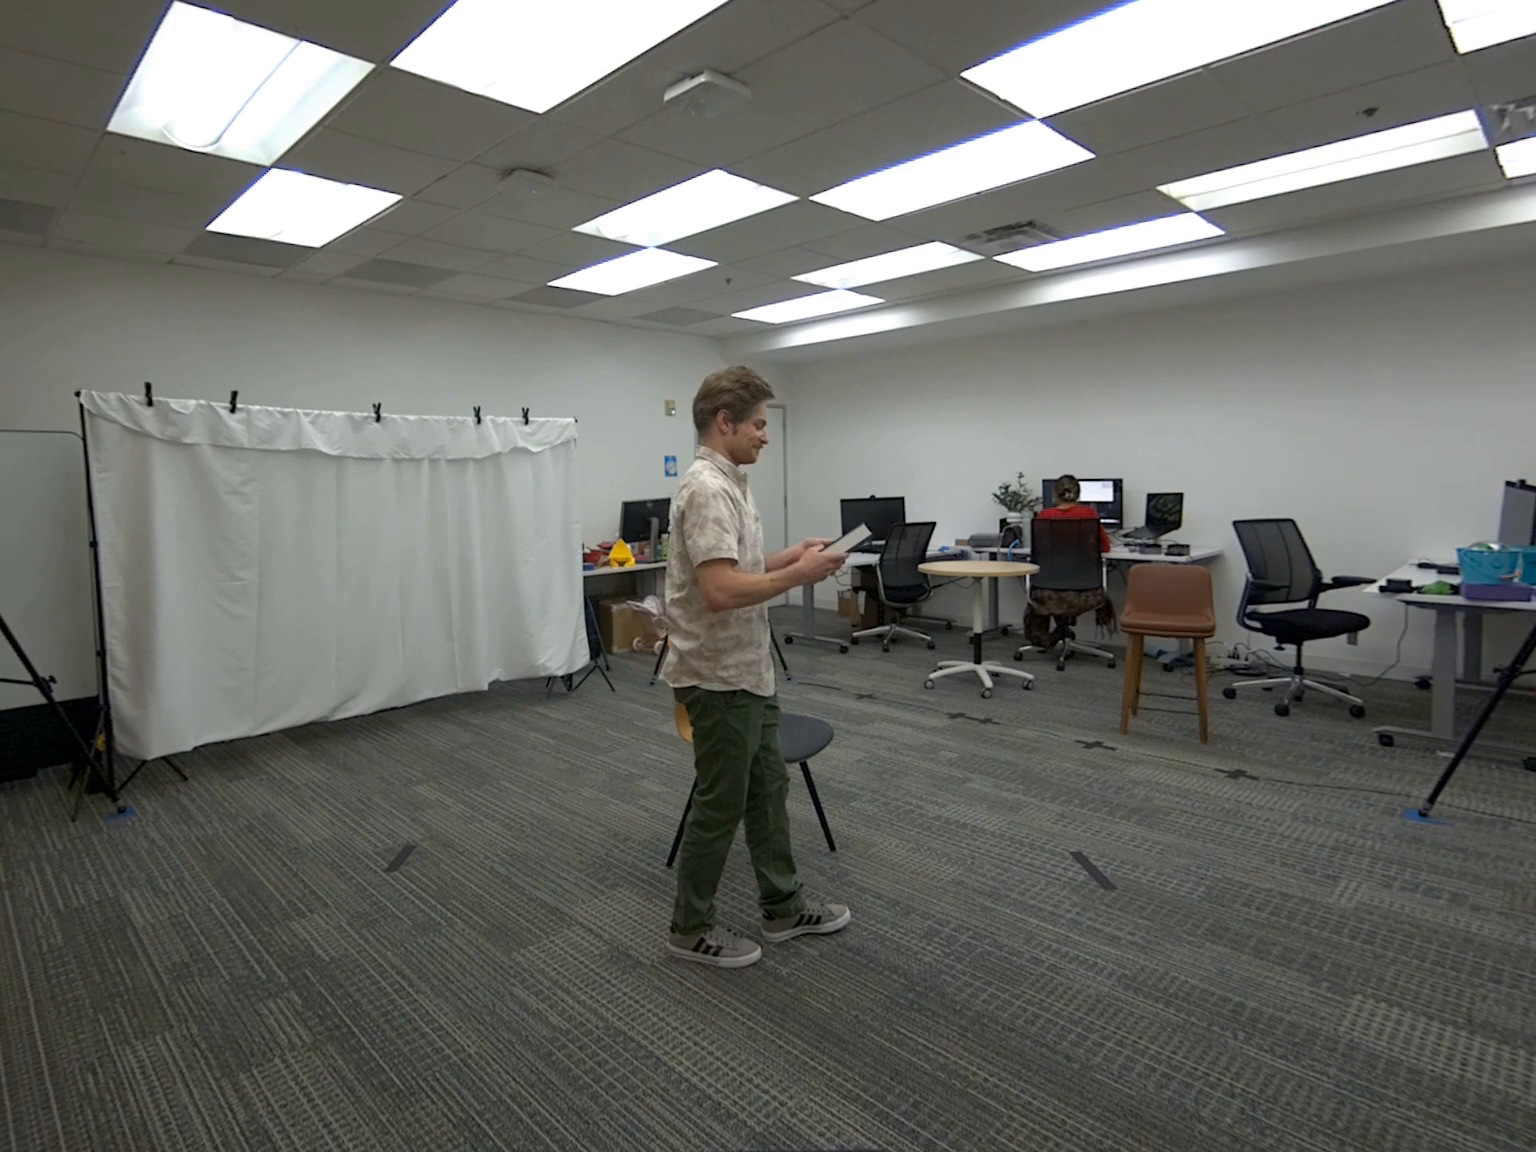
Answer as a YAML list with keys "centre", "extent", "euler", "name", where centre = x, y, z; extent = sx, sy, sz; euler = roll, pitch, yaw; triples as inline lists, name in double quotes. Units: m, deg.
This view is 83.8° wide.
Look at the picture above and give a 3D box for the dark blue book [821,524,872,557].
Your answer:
- centre: [0.195, -0.064, 2.419]
  extent: [0.245, 0.046, 0.161]
  euler: [-33, -7, 4]
  name: "dark blue book"
